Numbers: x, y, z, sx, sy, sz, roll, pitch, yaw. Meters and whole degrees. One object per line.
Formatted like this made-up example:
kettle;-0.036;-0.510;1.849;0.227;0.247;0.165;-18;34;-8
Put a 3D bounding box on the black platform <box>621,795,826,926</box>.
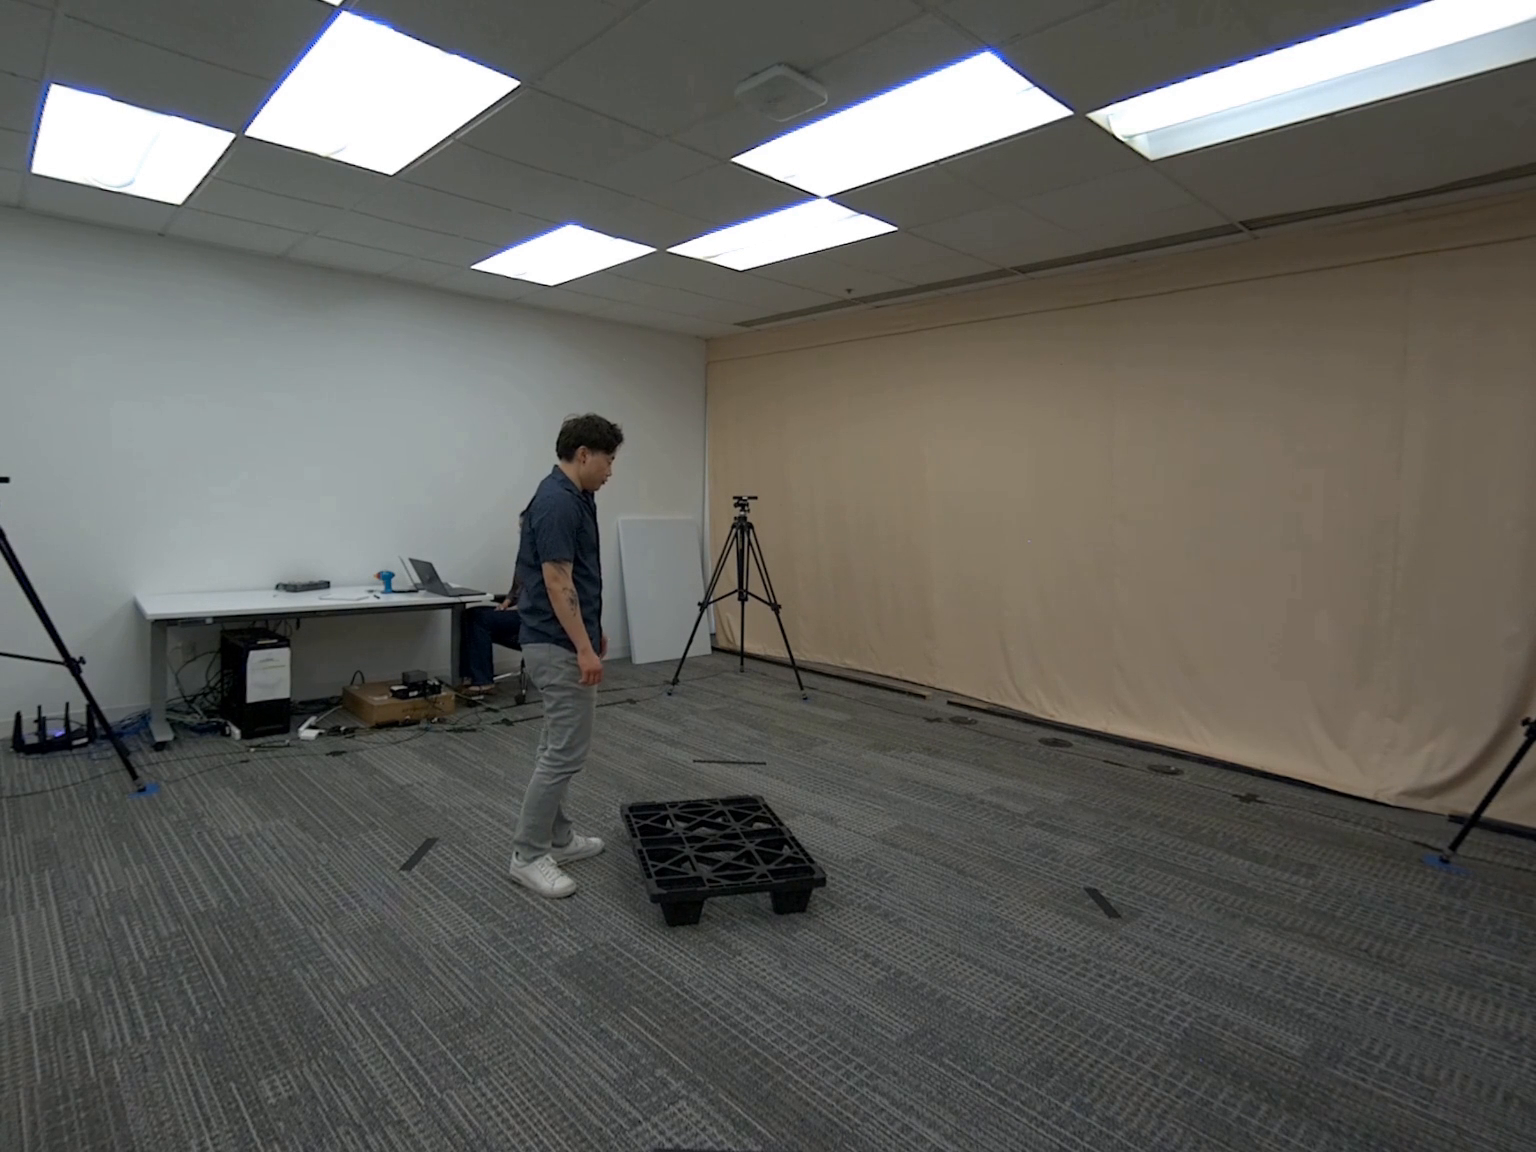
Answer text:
black platform;-0.206;1.031;3.125;0.598;0.143;0.818;0;6;-16
